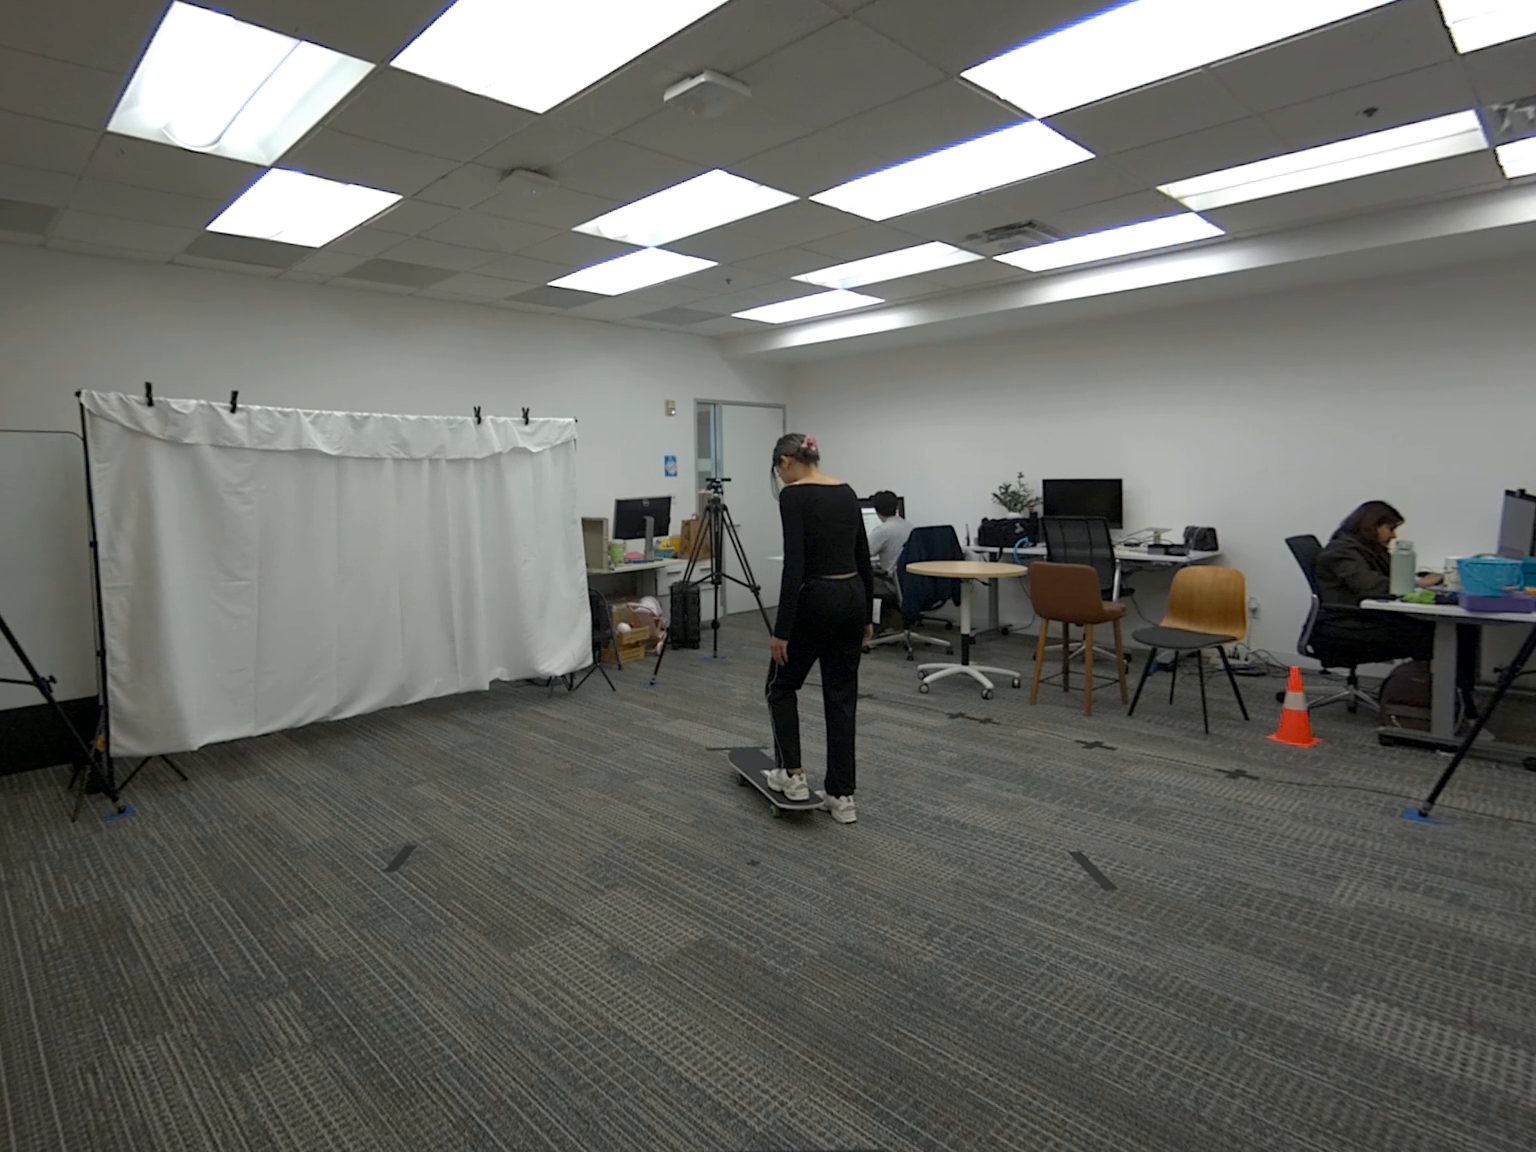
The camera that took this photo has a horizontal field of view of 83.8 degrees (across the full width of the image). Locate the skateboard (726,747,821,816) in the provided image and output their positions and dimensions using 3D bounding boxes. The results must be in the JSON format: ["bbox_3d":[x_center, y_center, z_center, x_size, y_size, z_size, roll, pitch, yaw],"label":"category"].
[{"bbox_3d":[0.023,0.914,3.728,0.190,0.110,0.803,-3,7,-22],"label":"skateboard"}]
